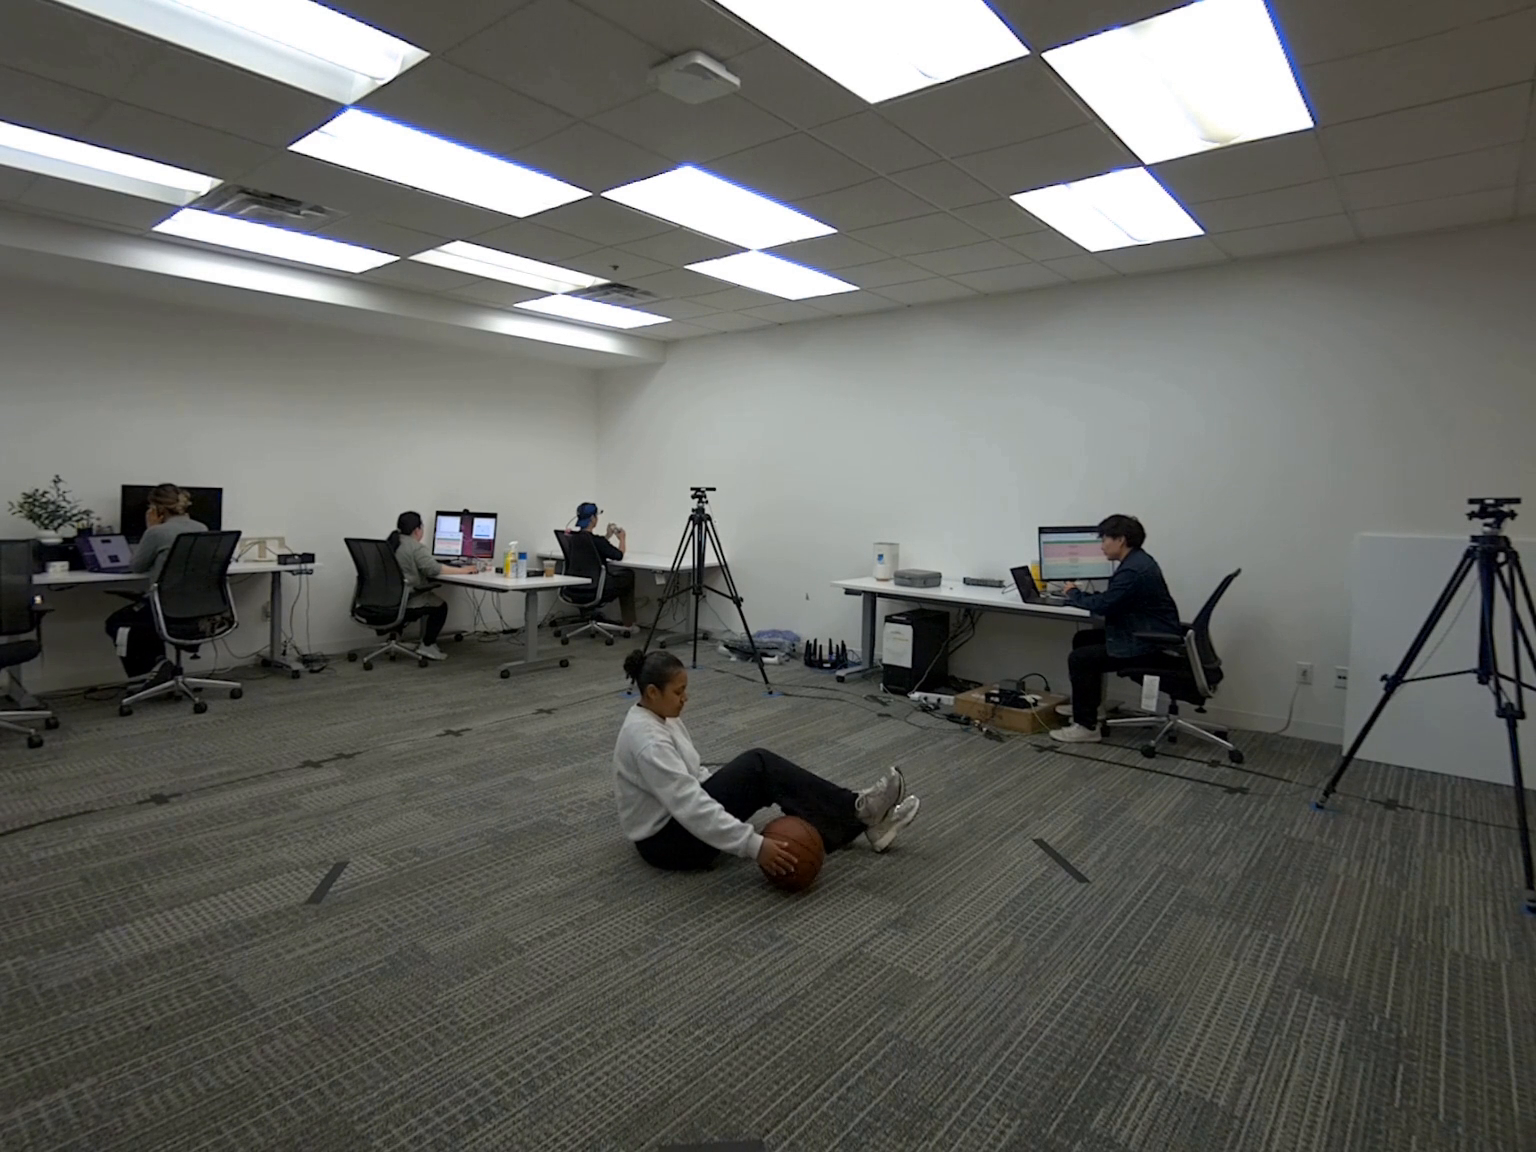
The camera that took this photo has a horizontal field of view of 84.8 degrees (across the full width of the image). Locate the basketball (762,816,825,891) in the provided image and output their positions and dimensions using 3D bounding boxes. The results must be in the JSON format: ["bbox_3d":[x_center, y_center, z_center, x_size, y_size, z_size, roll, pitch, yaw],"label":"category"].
[{"bbox_3d":[0.068,0.964,2.986,0.235,0.235,0.237,1,4,-2],"label":"basketball"}]
